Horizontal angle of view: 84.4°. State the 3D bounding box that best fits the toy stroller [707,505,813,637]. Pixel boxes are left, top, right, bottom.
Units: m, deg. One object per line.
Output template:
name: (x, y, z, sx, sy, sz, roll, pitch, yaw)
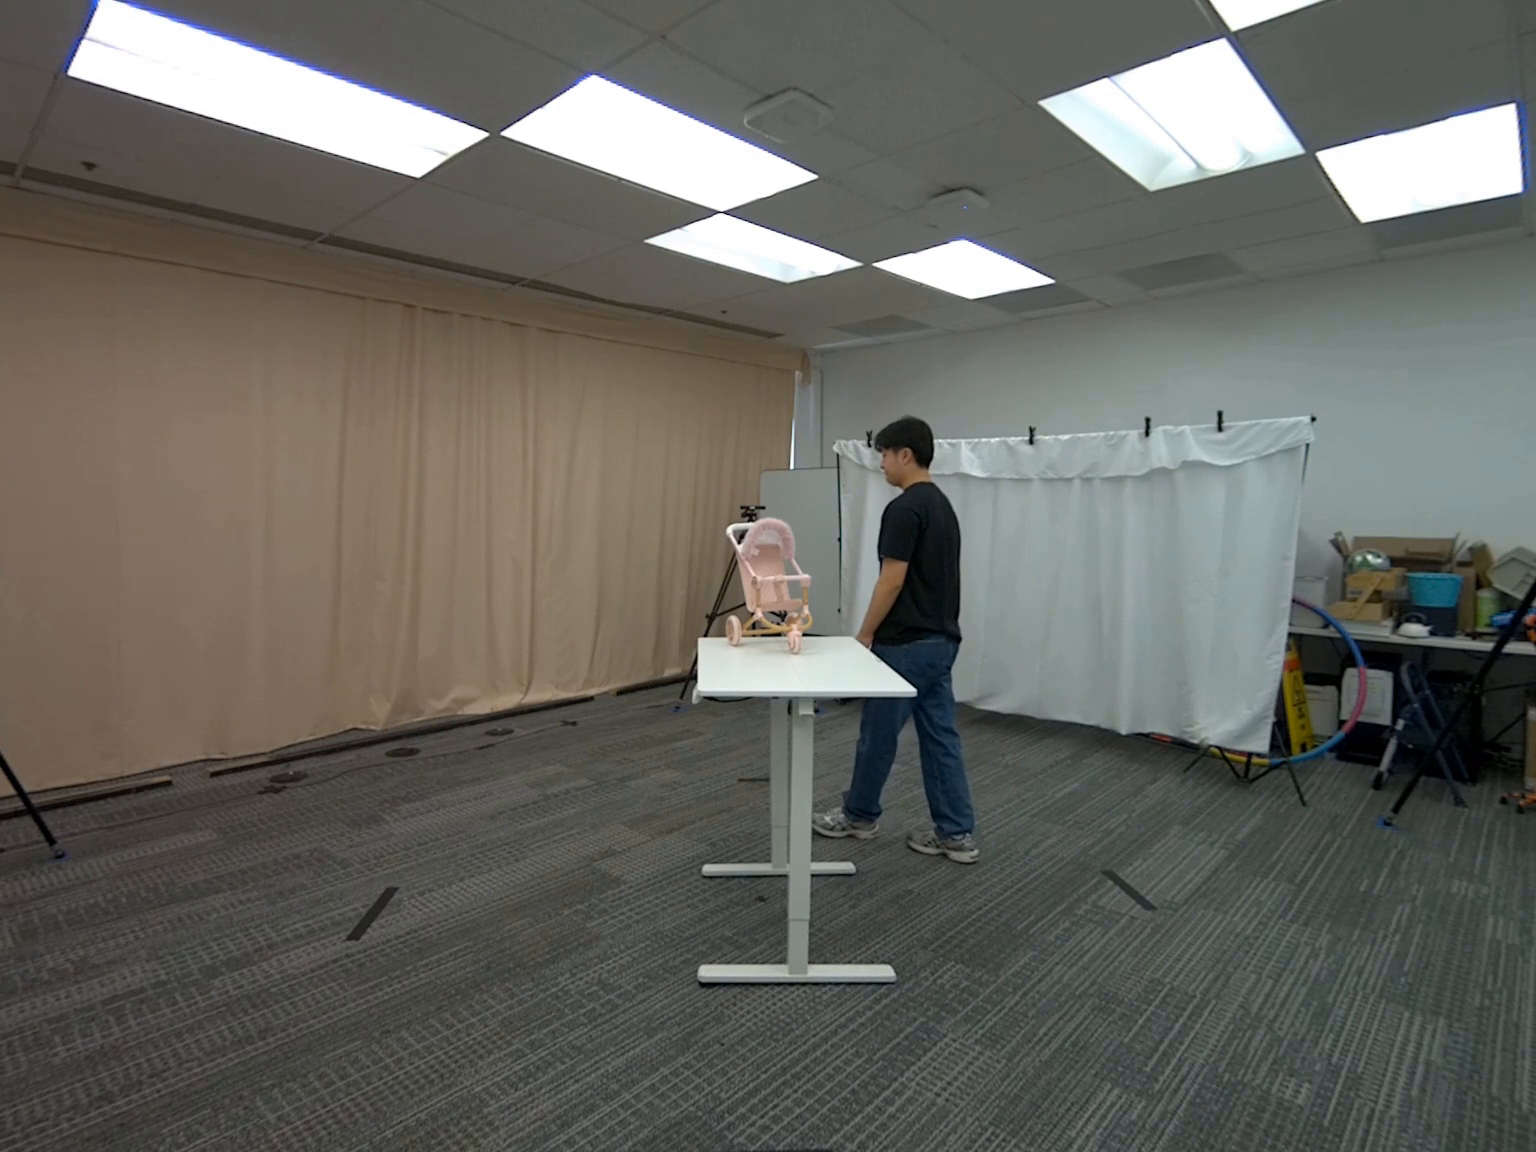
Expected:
toy stroller: (0.019, 0.031, 3.054, 0.276, 0.539, 0.345, -2, -10, -20)
